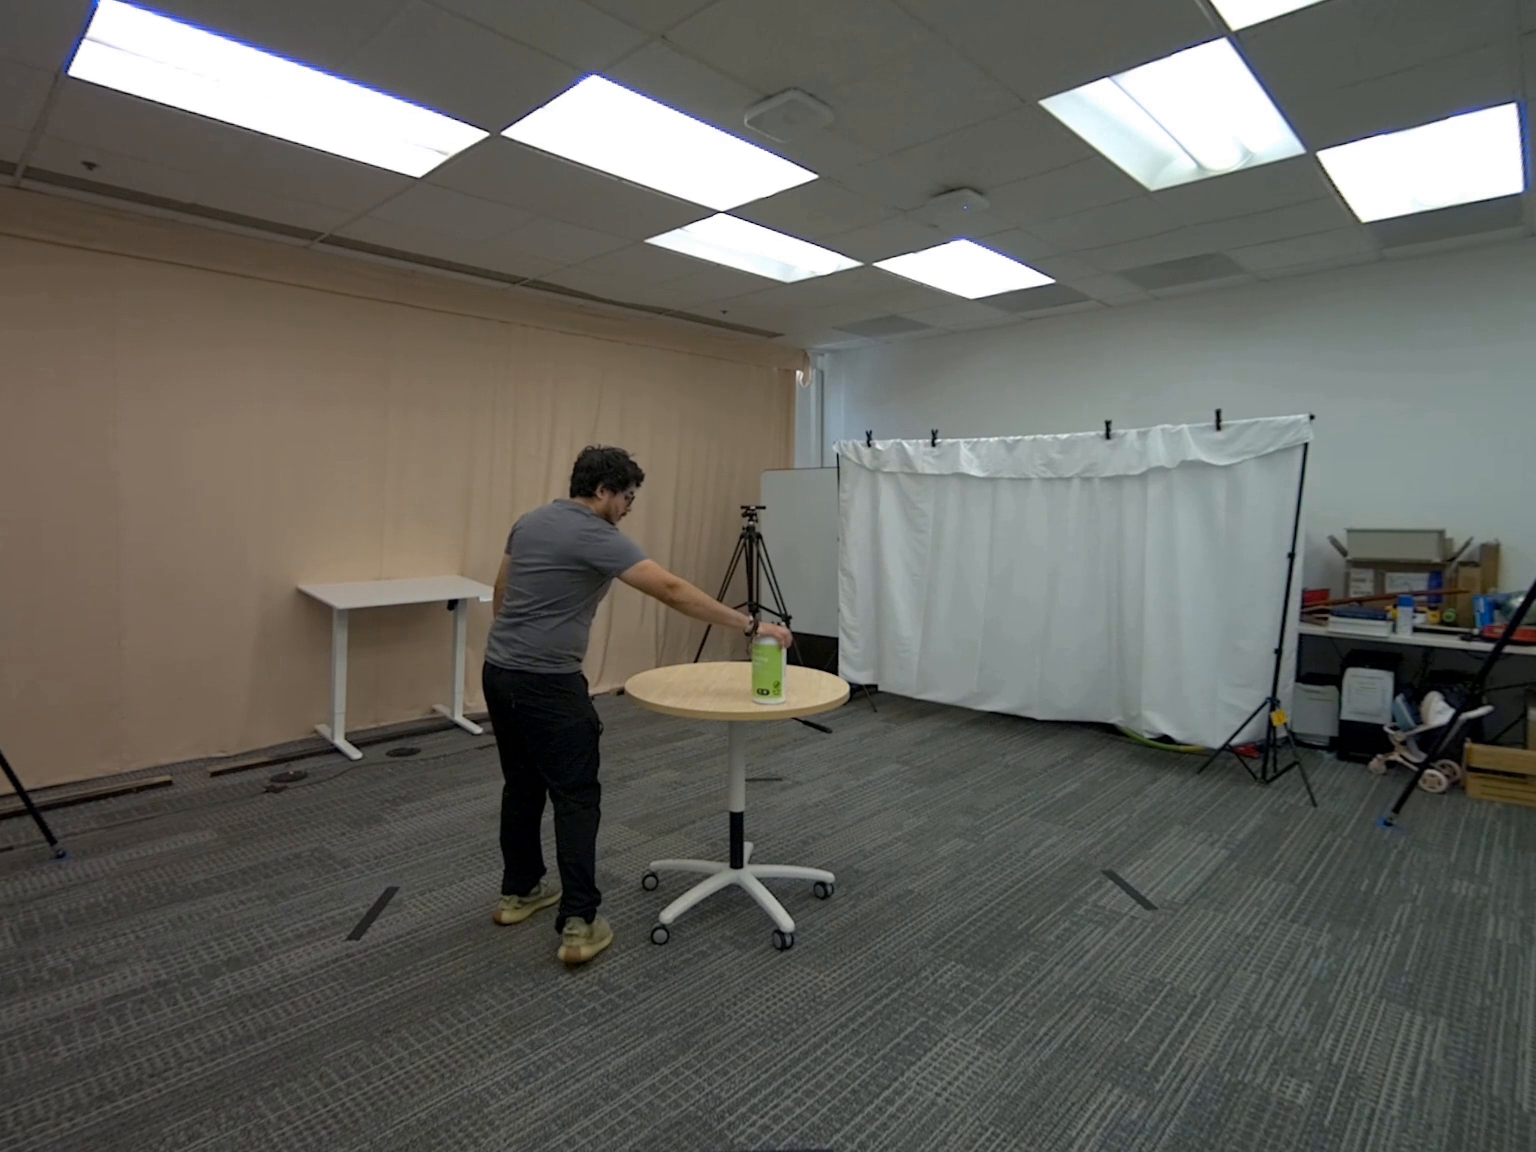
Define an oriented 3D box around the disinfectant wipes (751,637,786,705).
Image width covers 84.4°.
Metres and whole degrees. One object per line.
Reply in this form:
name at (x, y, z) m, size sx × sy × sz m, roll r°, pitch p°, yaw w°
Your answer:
disinfectant wipes at (0.006, 0.289, 2.633) m, size 0.118 × 0.216 × 0.118 m, roll -1°, pitch 8°, yaw -2°
